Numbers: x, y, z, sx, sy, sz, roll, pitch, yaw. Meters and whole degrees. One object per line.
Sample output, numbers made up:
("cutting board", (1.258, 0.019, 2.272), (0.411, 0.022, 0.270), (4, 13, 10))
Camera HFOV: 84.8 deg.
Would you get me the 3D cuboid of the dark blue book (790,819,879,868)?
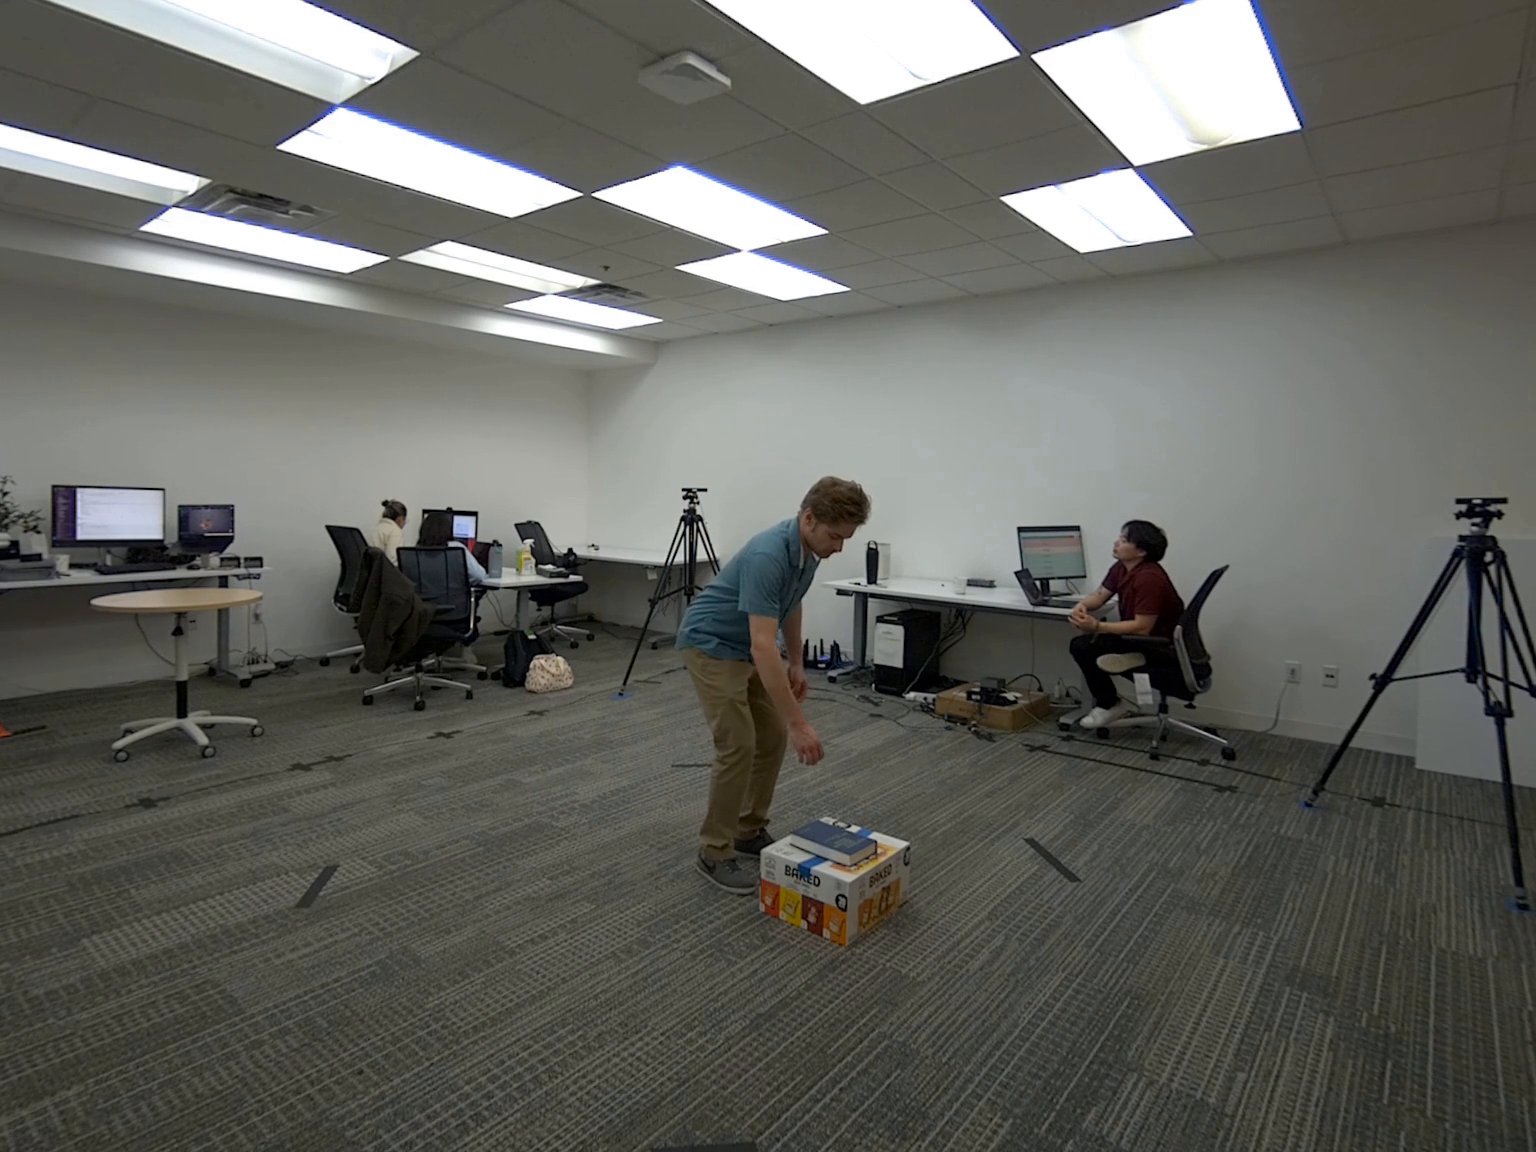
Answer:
("dark blue book", (0.219, 0.892, 2.838), (0.253, 0.045, 0.158), (6, 8, 40))
